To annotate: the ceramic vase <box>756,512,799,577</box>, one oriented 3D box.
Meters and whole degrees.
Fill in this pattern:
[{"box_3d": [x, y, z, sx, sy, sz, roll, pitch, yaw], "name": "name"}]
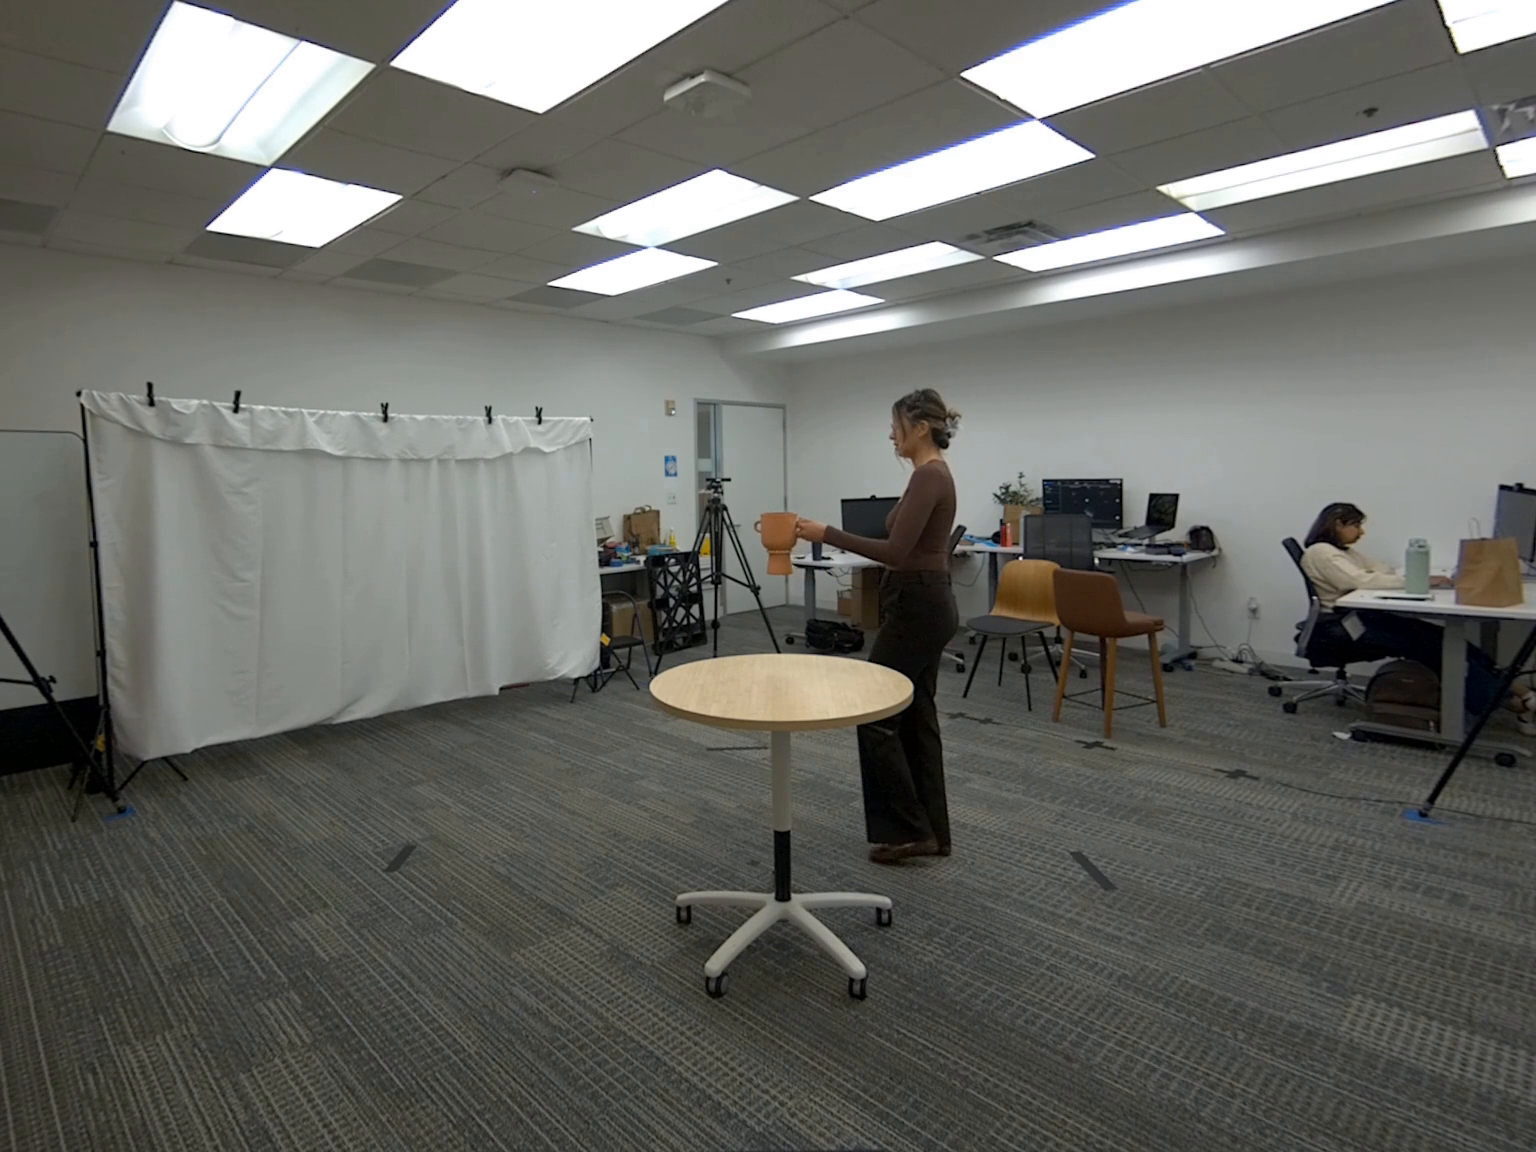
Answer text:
[{"box_3d": [0.050, -0.121, 3.105, 0.132, 0.219, 0.163, -3, 6, -27], "name": "ceramic vase"}]
